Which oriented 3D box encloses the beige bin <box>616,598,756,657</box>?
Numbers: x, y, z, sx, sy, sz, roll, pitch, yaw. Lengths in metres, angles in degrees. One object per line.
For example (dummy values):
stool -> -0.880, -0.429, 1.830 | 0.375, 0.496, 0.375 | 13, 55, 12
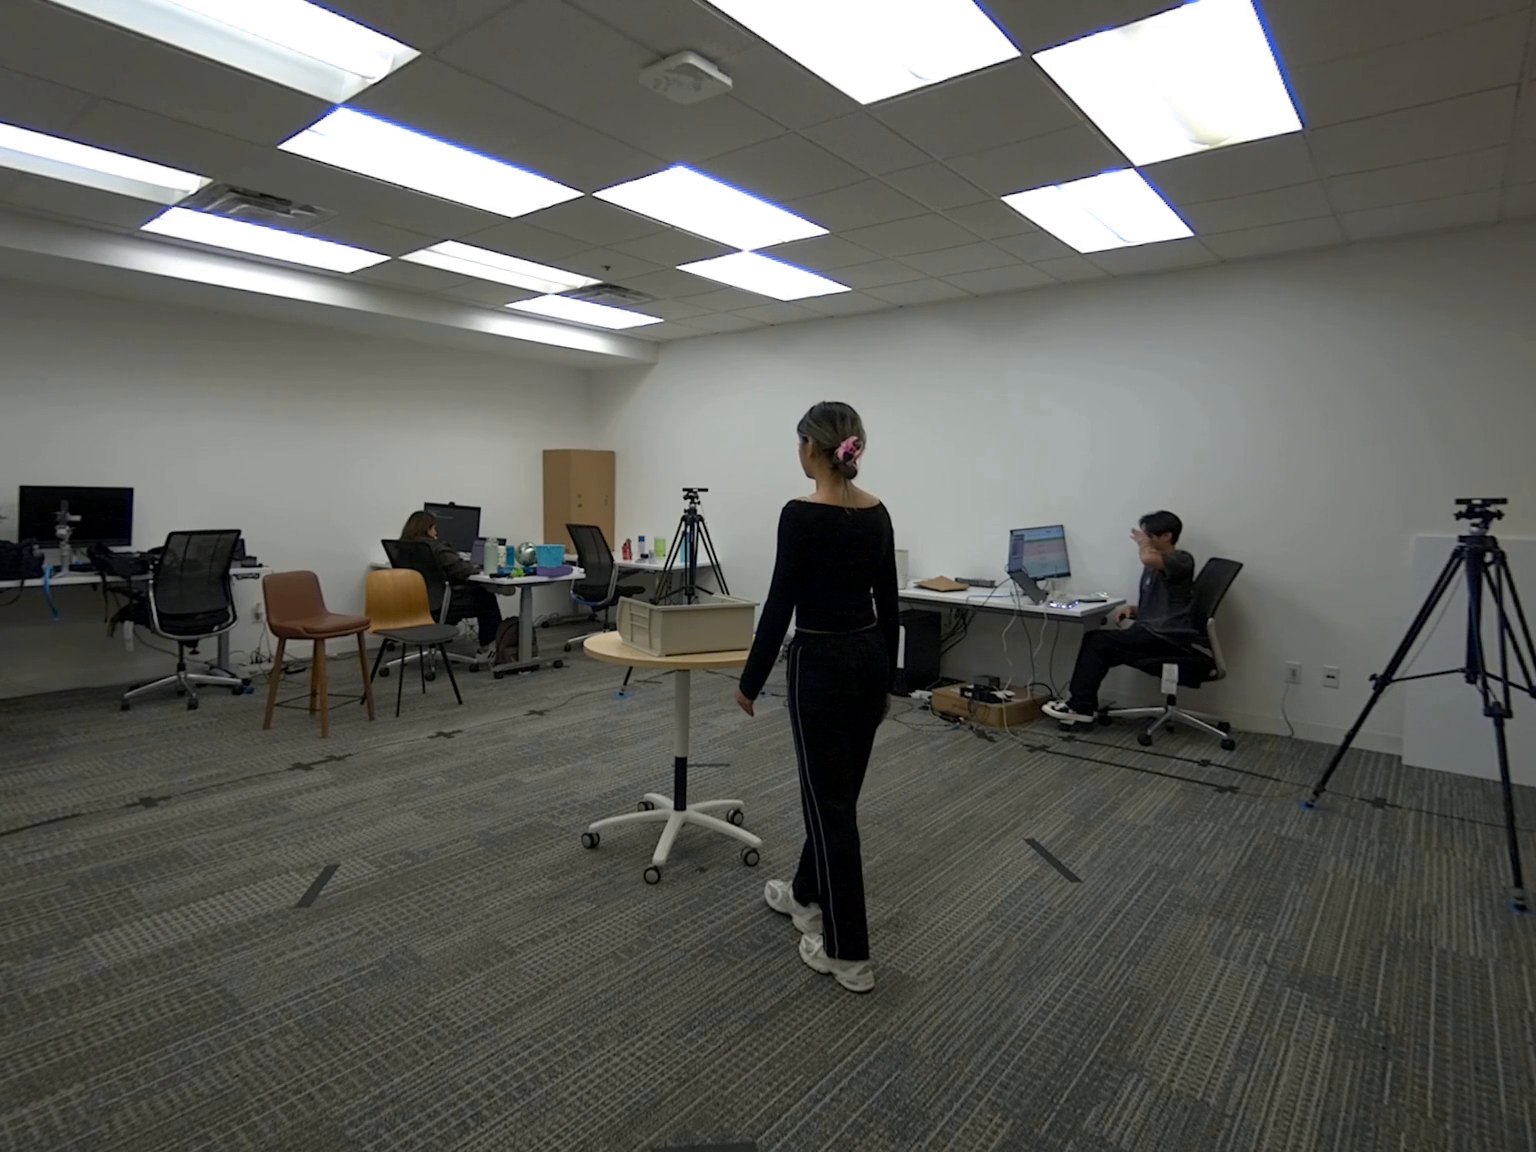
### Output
beige bin -> -0.321, 0.174, 3.224 | 0.411, 0.188, 0.389 | -1, 6, -31
